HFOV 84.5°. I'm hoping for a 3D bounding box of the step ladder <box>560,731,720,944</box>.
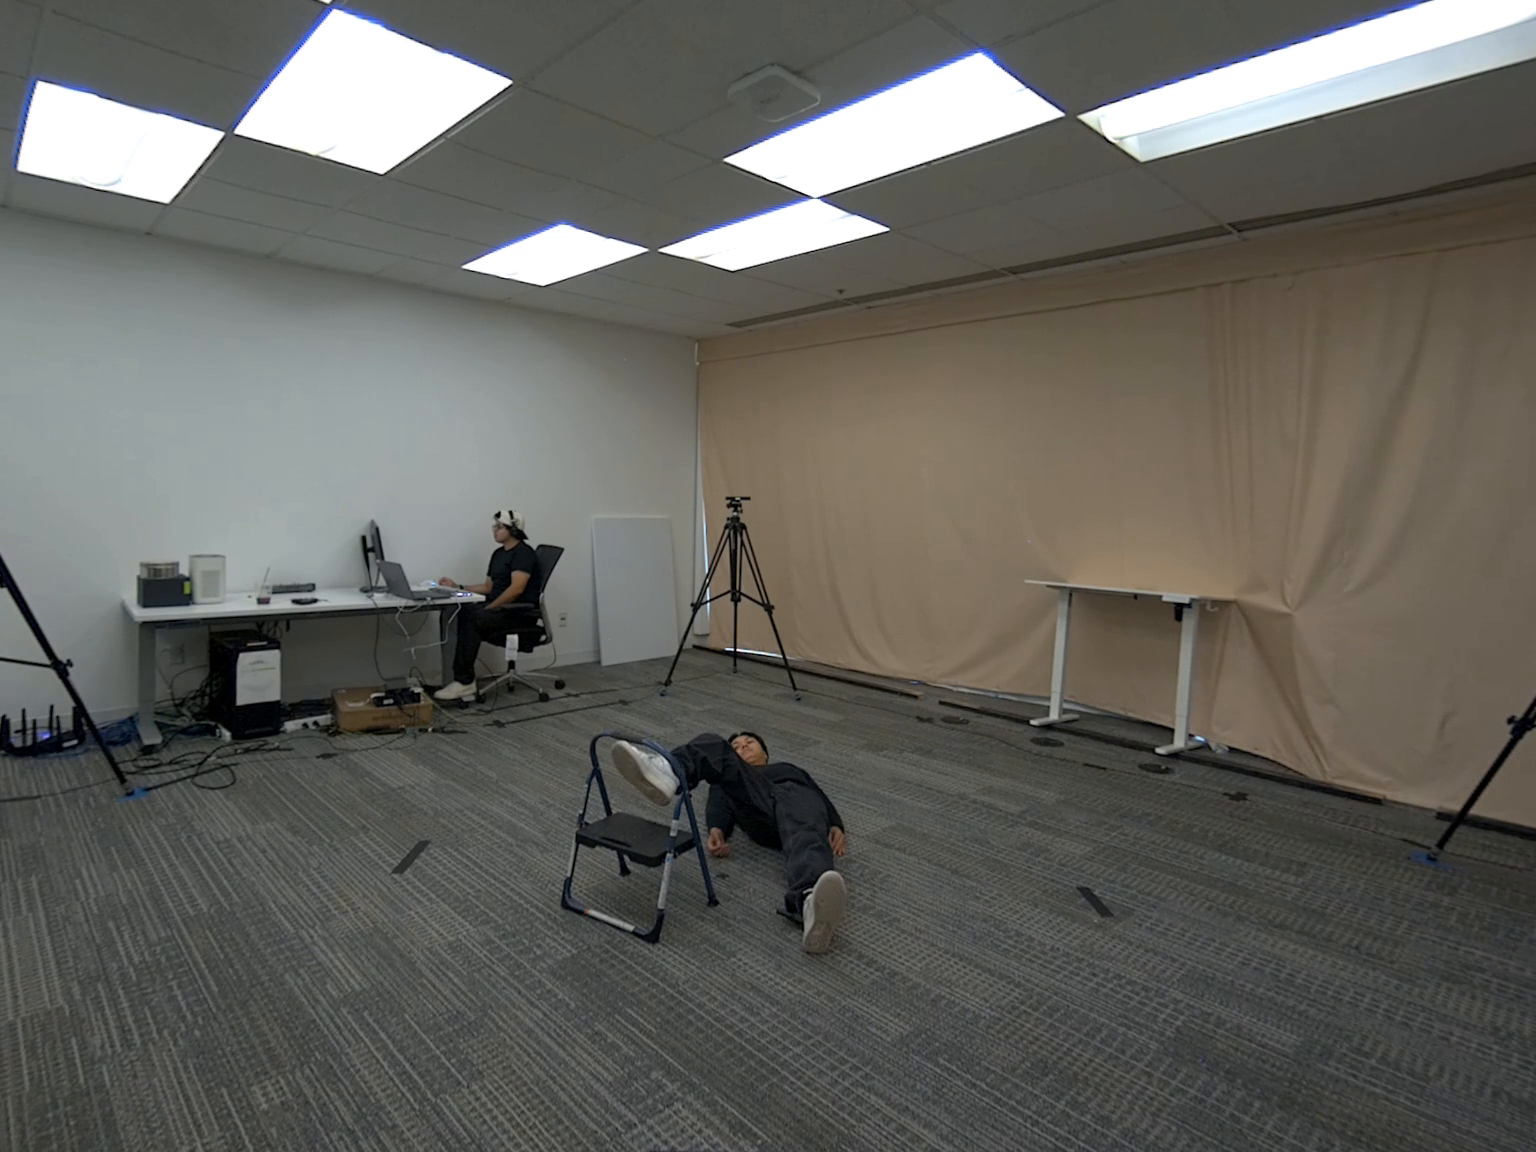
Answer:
[{"bbox_3d":[-0.437,0.820,2.849,0.440,0.604,0.342,3,4,33],"label":"step ladder"}]
